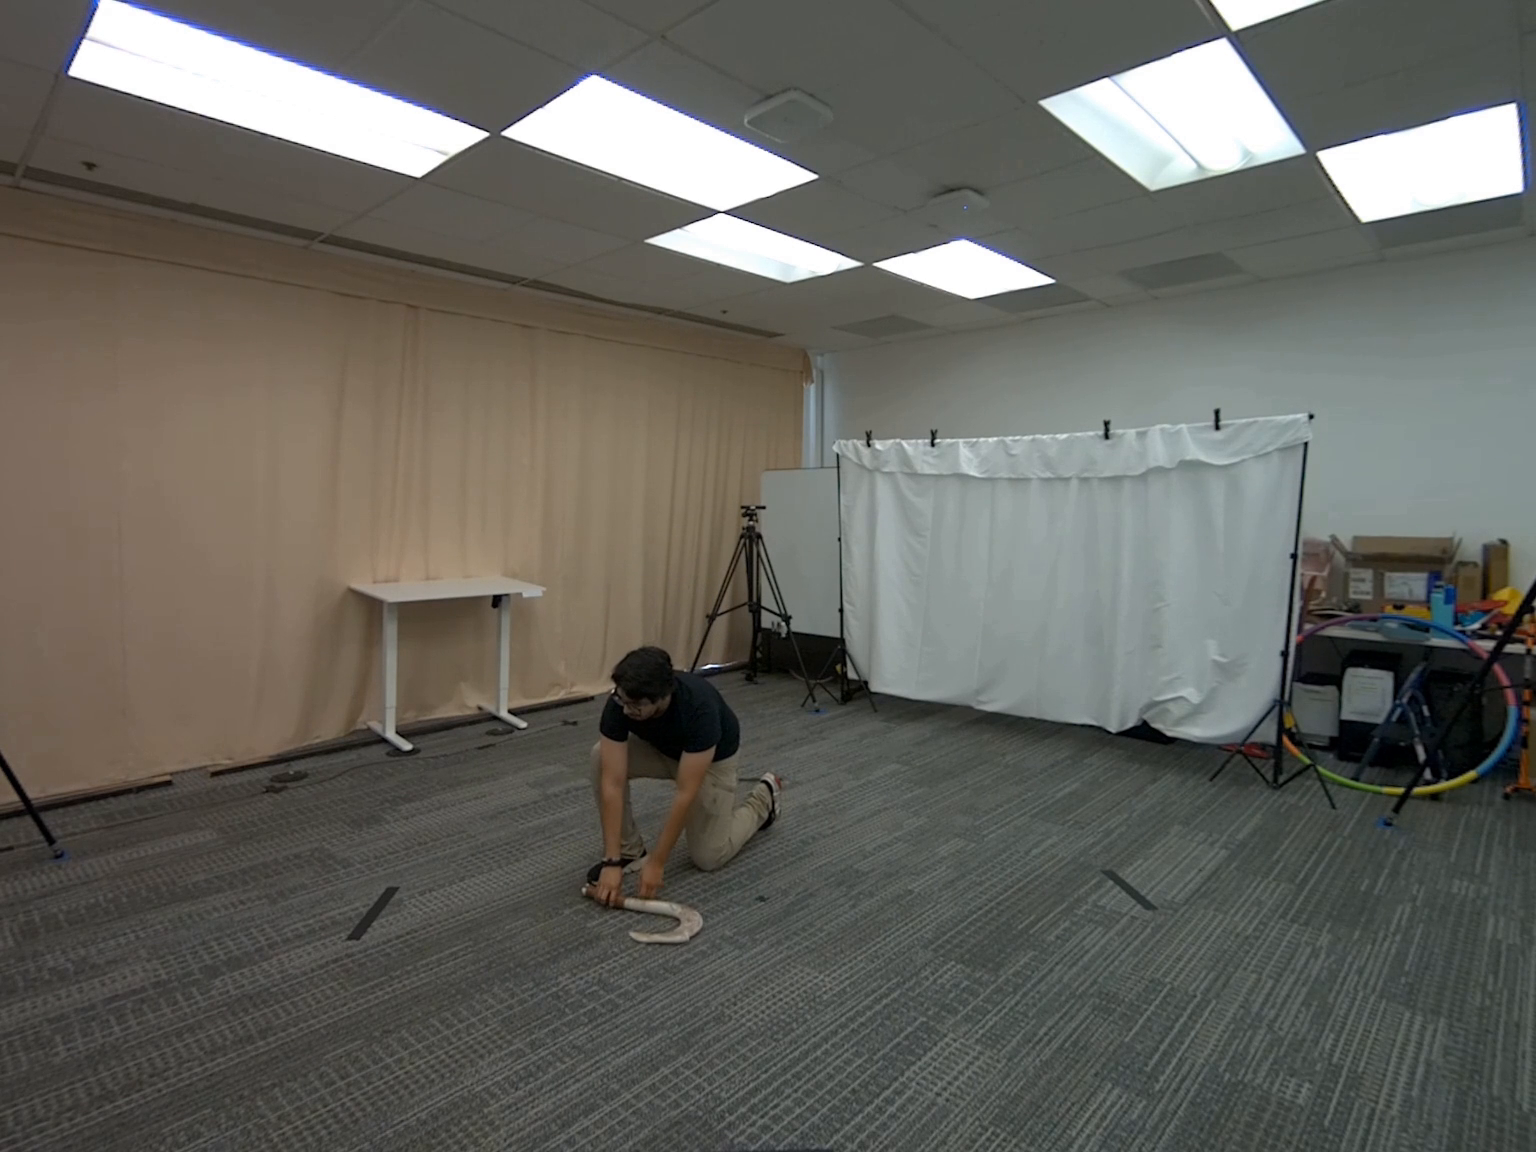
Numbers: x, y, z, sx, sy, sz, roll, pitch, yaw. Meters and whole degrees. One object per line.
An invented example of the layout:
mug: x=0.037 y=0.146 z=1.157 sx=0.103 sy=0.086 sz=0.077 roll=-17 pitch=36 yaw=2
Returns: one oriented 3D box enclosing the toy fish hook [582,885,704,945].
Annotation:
toy fish hook: x=-0.463 y=1.134 z=2.837 sx=0.521 sy=0.048 sz=0.219 roll=2 pitch=5 yaw=29
